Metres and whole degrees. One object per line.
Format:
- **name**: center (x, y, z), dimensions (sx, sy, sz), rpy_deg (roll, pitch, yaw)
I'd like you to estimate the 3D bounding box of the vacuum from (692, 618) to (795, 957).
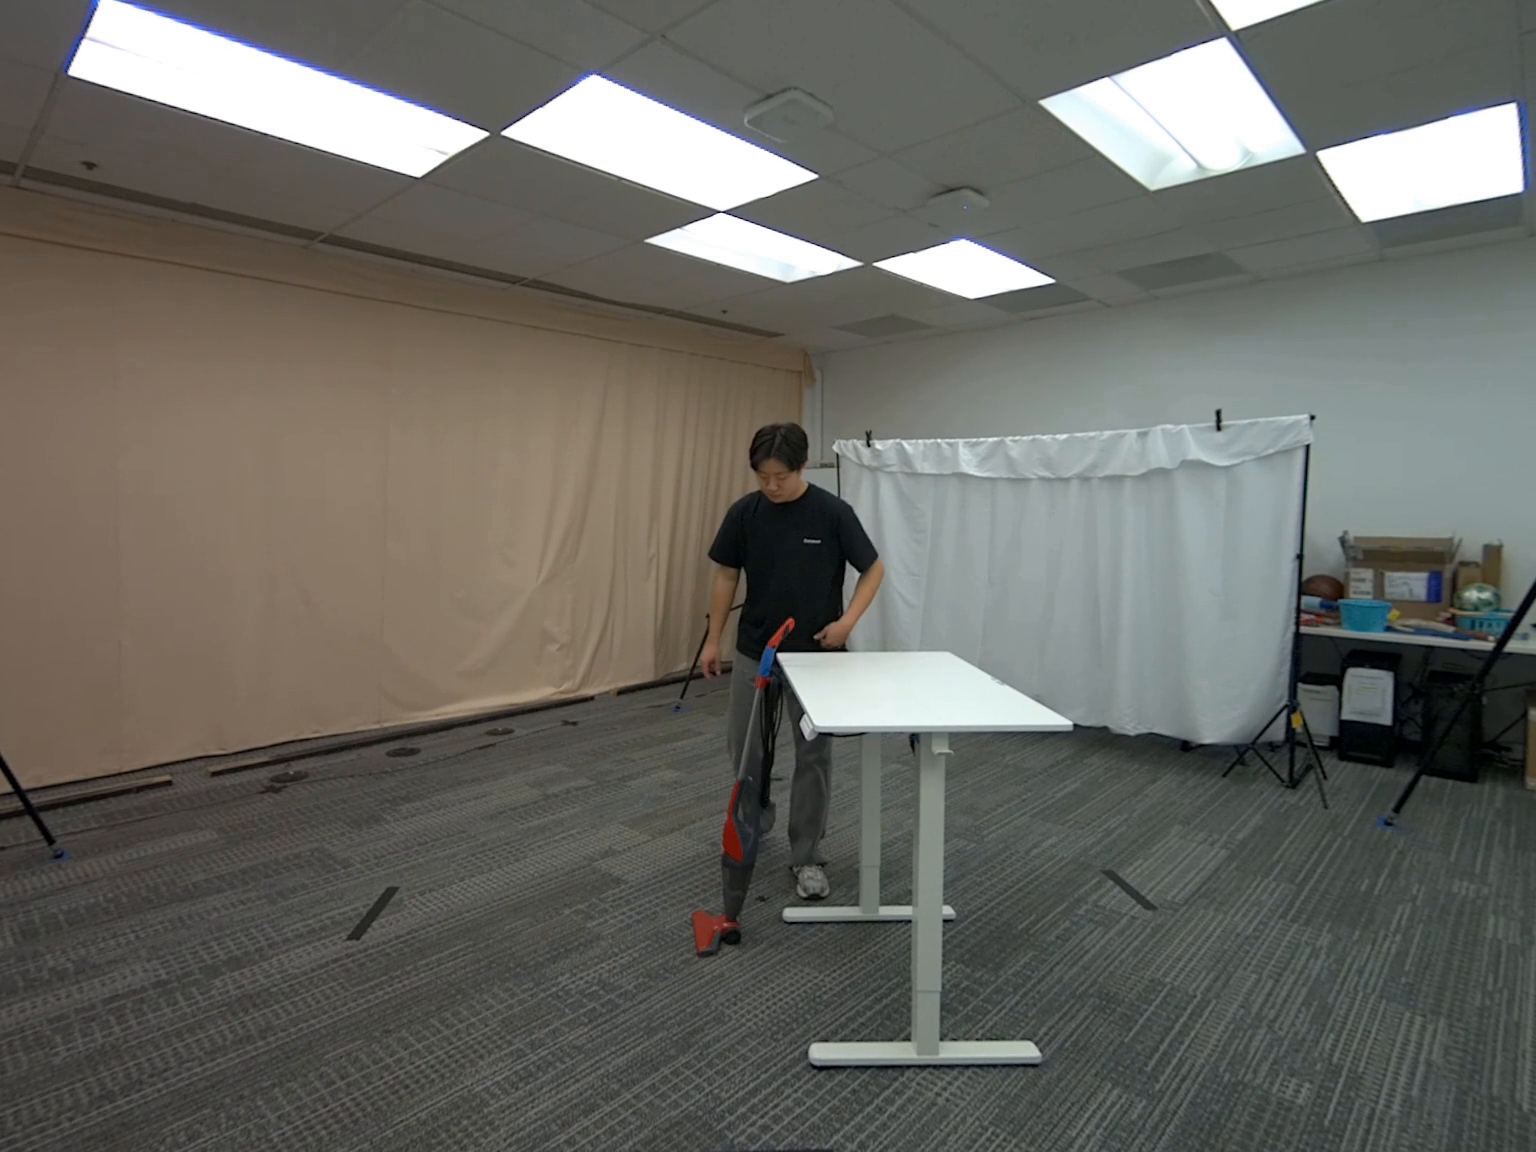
- **vacuum**: center (-0.040, 0.648, 2.717), dimensions (0.143, 1.049, 0.255), rpy_deg (13, 1, -9)
